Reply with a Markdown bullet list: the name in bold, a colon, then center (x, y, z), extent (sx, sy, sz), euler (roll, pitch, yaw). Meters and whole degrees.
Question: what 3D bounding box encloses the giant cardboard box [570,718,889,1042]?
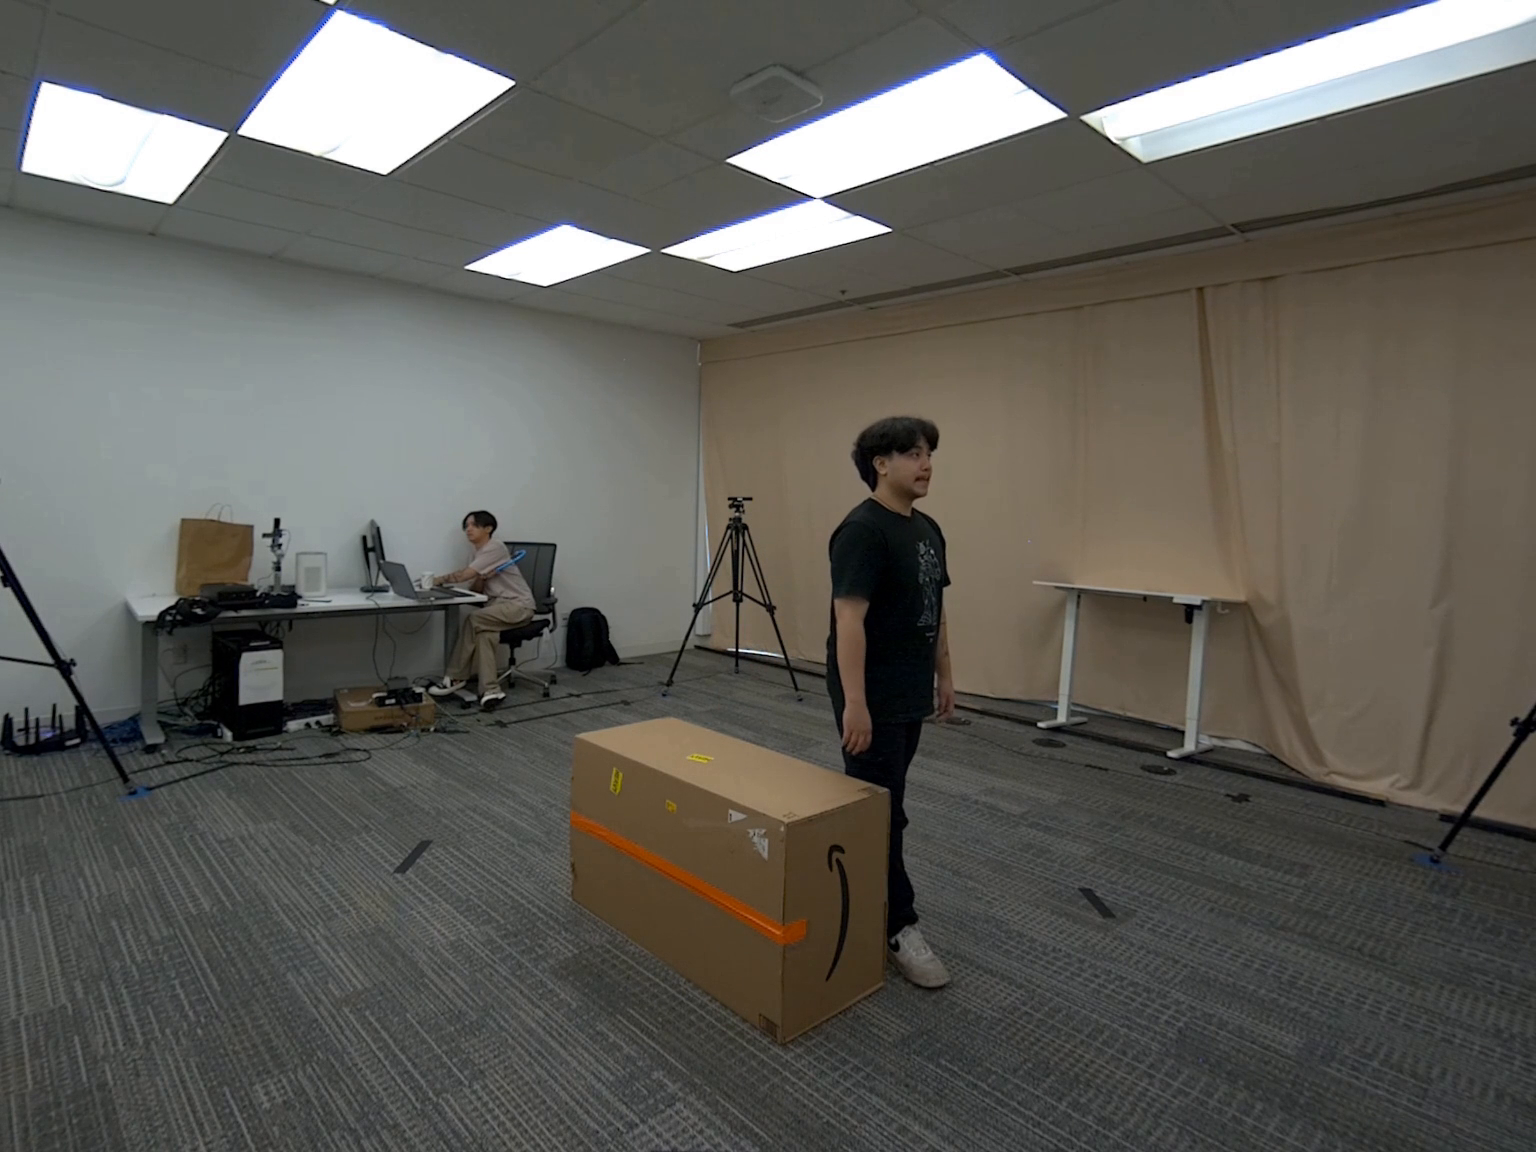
- **giant cardboard box**: center (-0.175, 0.865, 2.644), extent (0.437, 0.582, 1.053), euler (-3, 6, -43)
